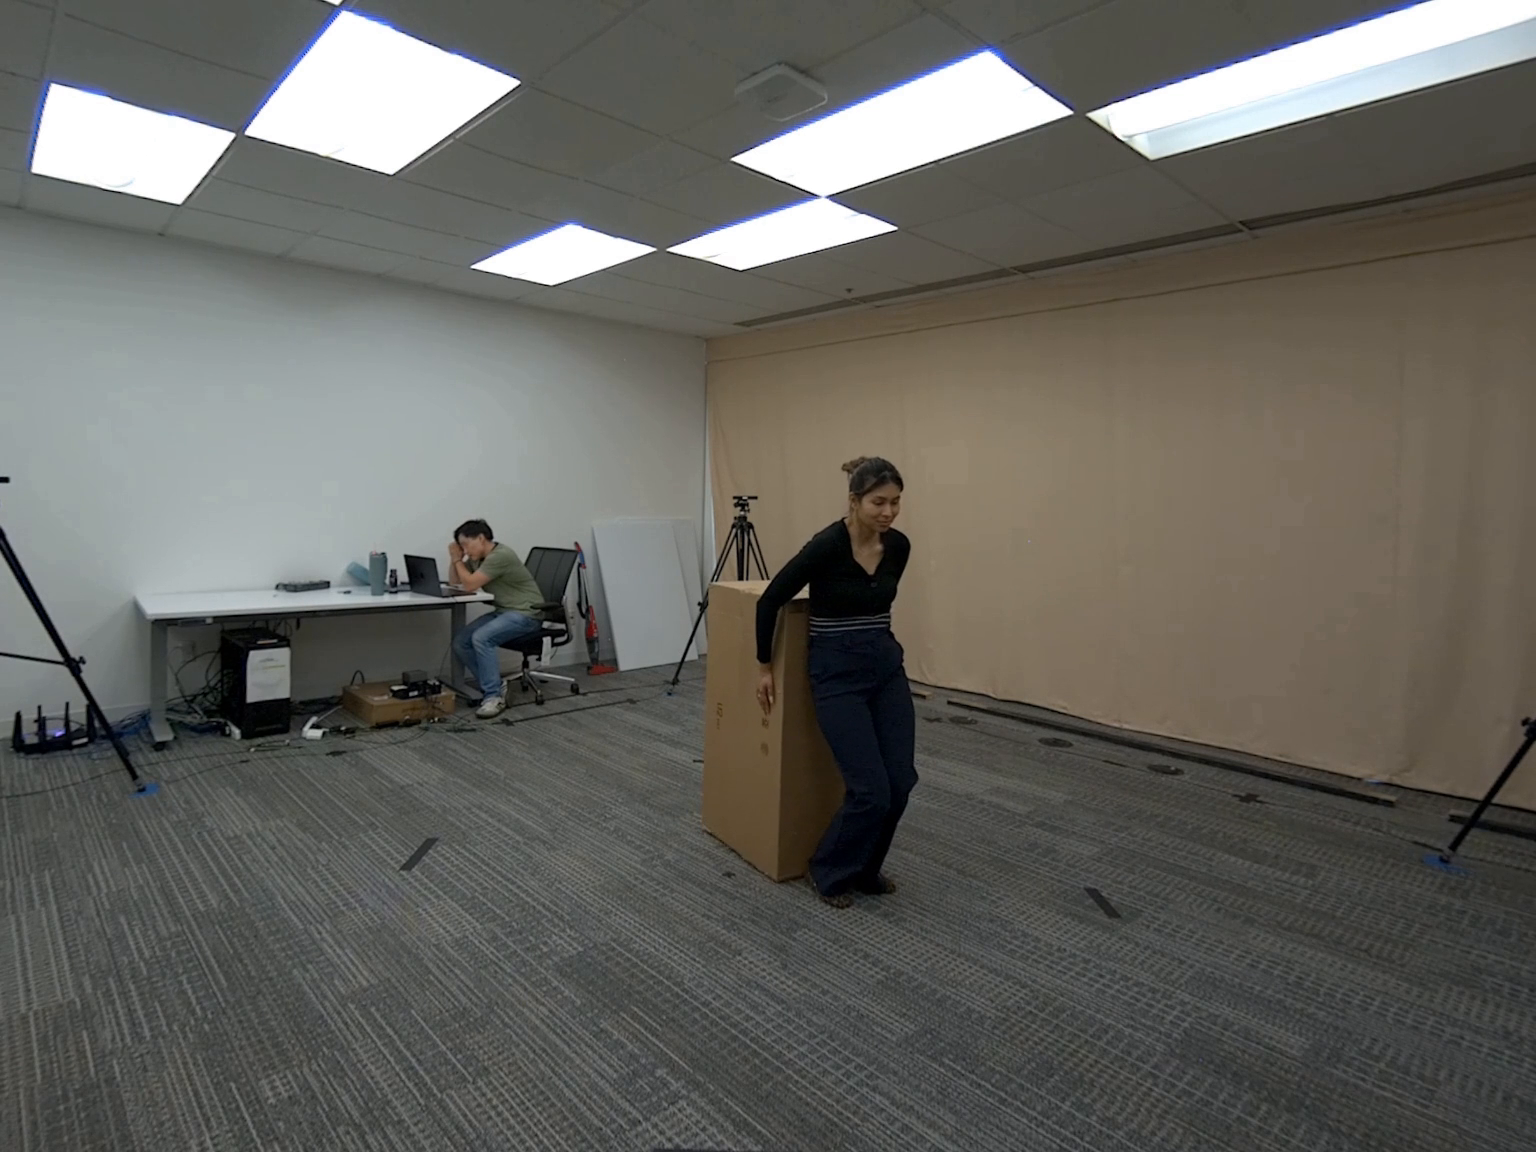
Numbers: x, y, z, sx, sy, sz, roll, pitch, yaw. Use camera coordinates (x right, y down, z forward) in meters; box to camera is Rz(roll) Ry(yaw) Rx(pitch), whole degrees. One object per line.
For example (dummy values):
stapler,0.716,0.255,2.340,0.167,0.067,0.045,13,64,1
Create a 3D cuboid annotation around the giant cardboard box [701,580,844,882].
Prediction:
giant cardboard box,0.057,0.561,3.361,0.417,1.023,0.591,-1,4,-31
